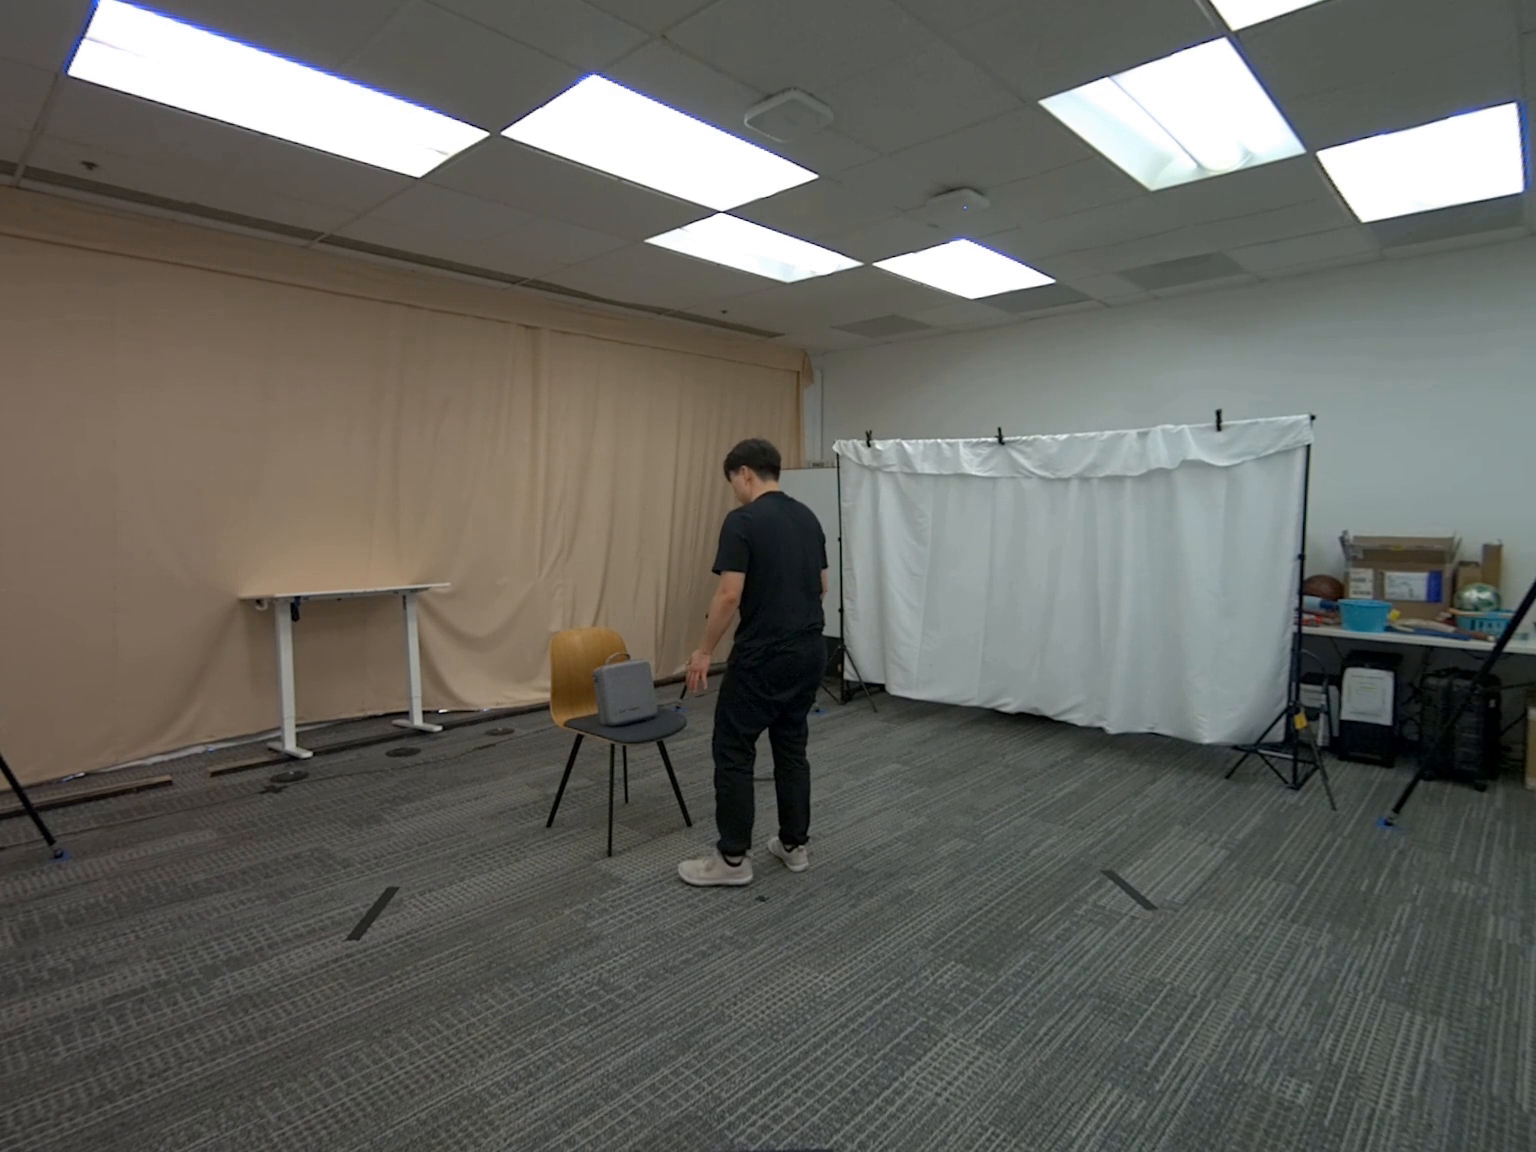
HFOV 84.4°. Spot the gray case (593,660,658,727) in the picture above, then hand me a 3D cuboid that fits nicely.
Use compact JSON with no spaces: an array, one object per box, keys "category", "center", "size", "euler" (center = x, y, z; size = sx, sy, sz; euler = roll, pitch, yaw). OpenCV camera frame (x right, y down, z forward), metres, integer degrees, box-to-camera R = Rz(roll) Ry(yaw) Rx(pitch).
[{"category":"gray case","center":[-0.612,0.496,3.587],"size":[0.249,0.262,0.107],"euler":[-4,-10,-40]}]
